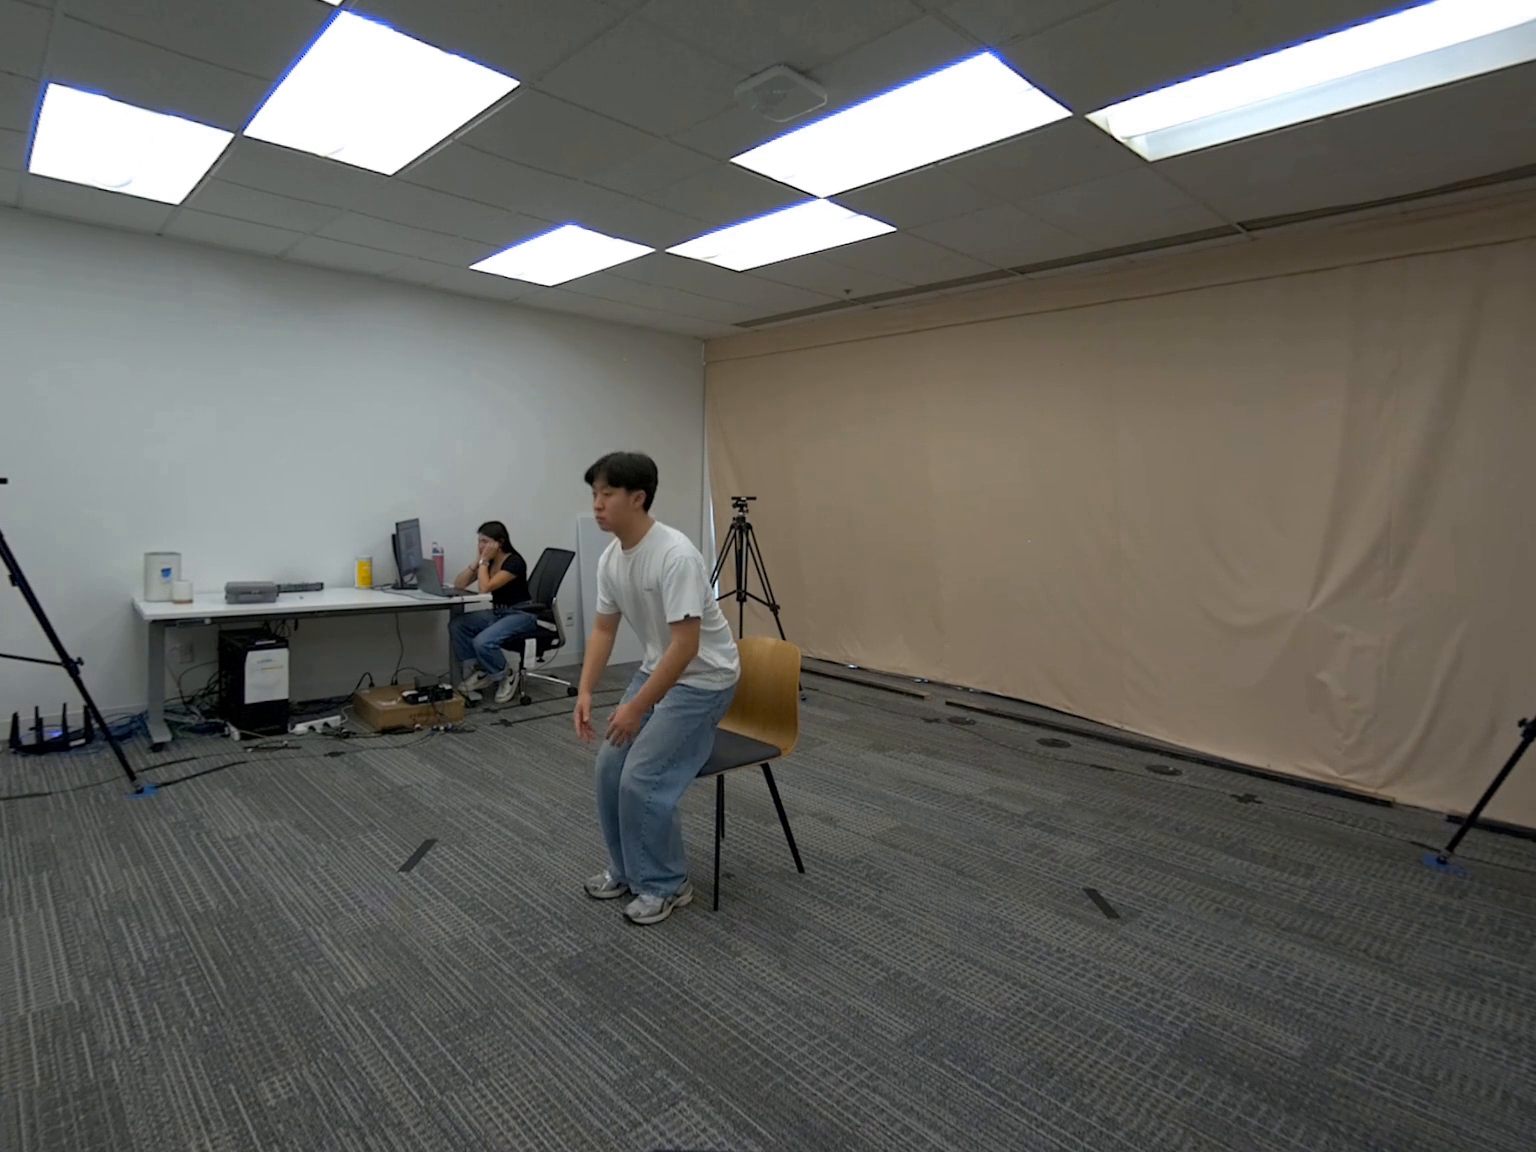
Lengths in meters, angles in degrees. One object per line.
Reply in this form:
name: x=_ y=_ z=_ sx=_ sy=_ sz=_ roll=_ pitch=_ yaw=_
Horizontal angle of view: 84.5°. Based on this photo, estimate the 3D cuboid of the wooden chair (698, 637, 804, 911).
wooden chair: x=-0.176 y=0.680 z=3.117 sx=0.510 sy=0.877 sz=0.490 roll=4 pitch=0 yaw=-44
